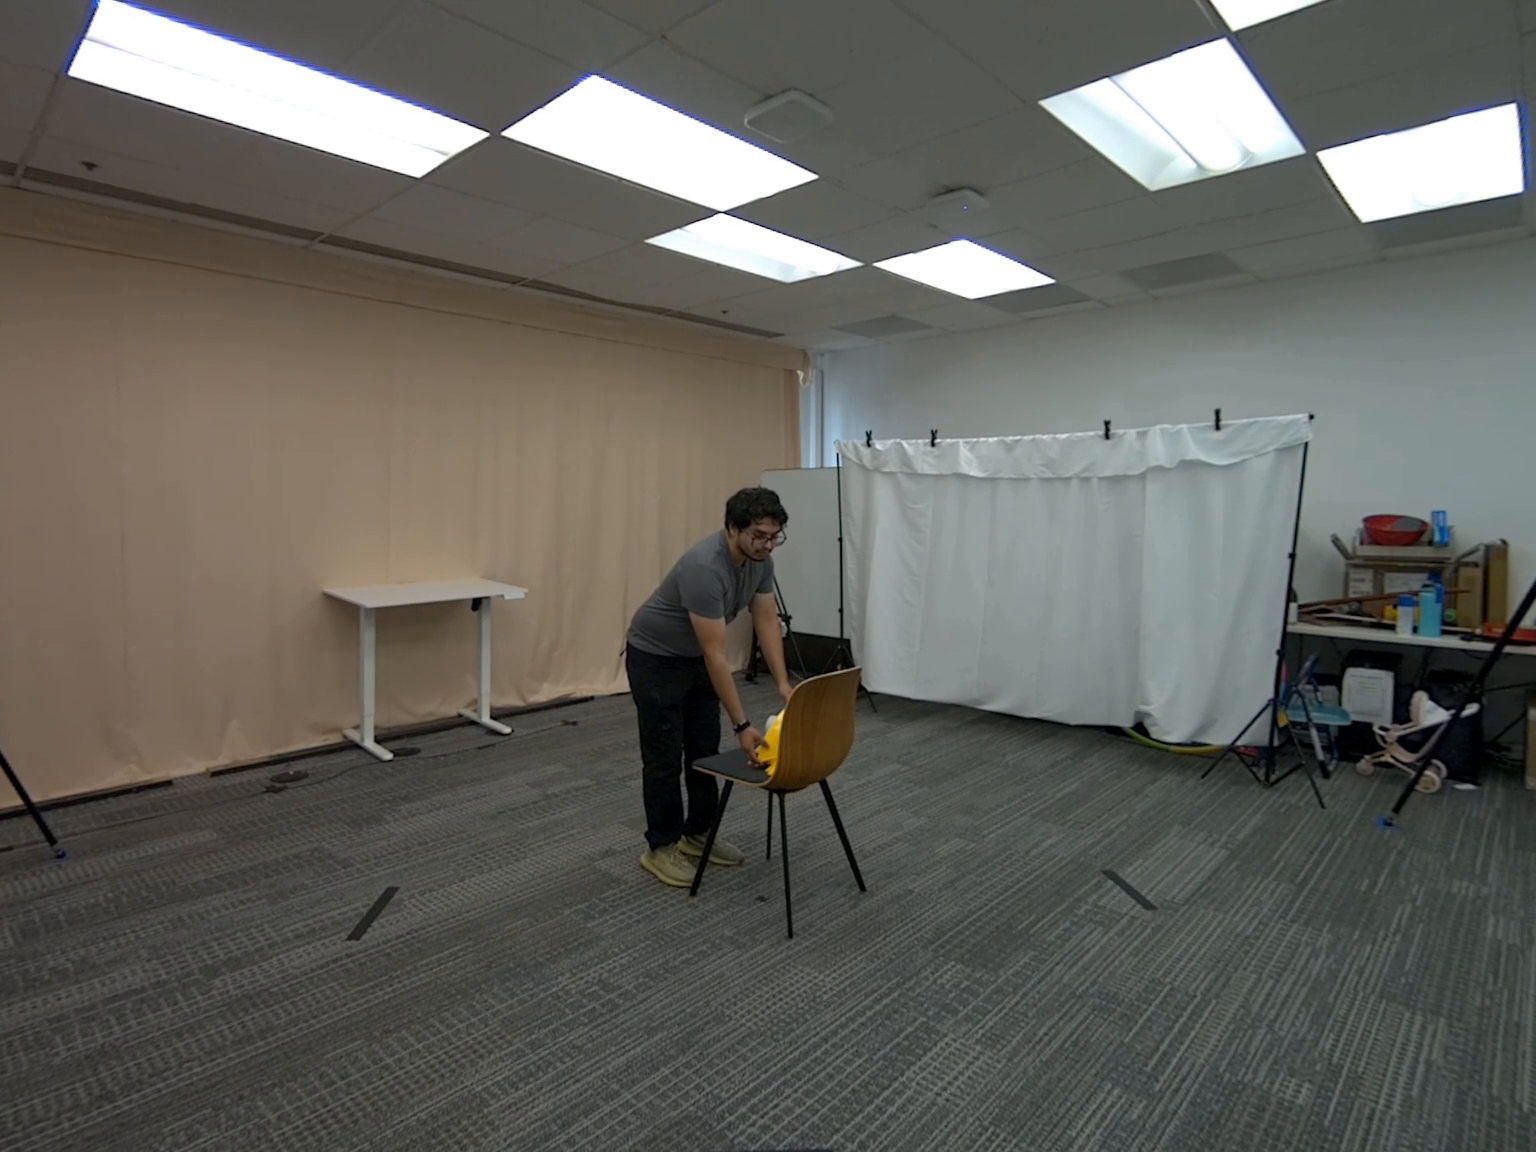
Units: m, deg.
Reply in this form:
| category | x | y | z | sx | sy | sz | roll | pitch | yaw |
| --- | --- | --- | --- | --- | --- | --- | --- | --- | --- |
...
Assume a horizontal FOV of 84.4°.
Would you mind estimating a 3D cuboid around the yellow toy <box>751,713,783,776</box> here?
| category | x | y | z | sx | sy | sz | roll | pitch | yaw |
| --- | --- | --- | --- | --- | --- | --- | --- | --- | --- |
| yellow toy | 0.045 | 0.555 | 2.960 | 0.188 | 0.230 | 0.211 | -2 | 7 | -32 |
